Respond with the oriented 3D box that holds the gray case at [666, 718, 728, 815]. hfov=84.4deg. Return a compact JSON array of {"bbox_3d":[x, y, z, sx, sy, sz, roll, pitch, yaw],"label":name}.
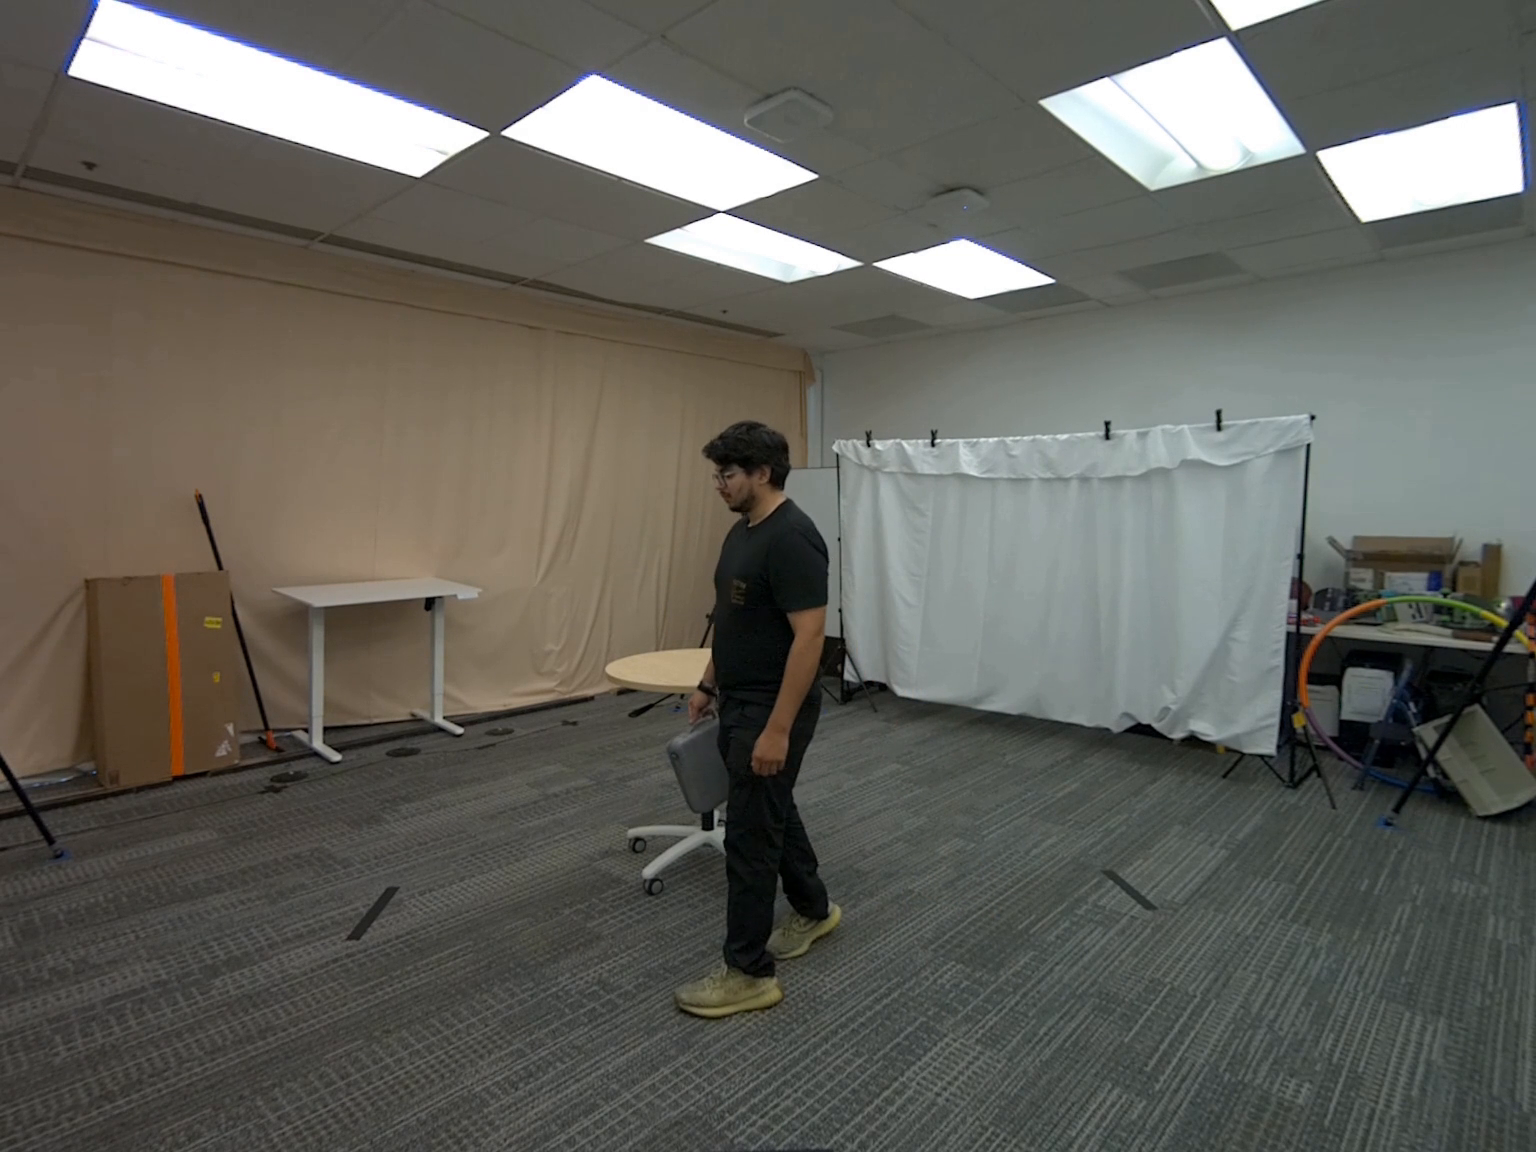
[{"bbox_3d":[-0.173,0.597,2.731,0.252,0.259,0.107,-23,5,-33],"label":"gray case"}]
